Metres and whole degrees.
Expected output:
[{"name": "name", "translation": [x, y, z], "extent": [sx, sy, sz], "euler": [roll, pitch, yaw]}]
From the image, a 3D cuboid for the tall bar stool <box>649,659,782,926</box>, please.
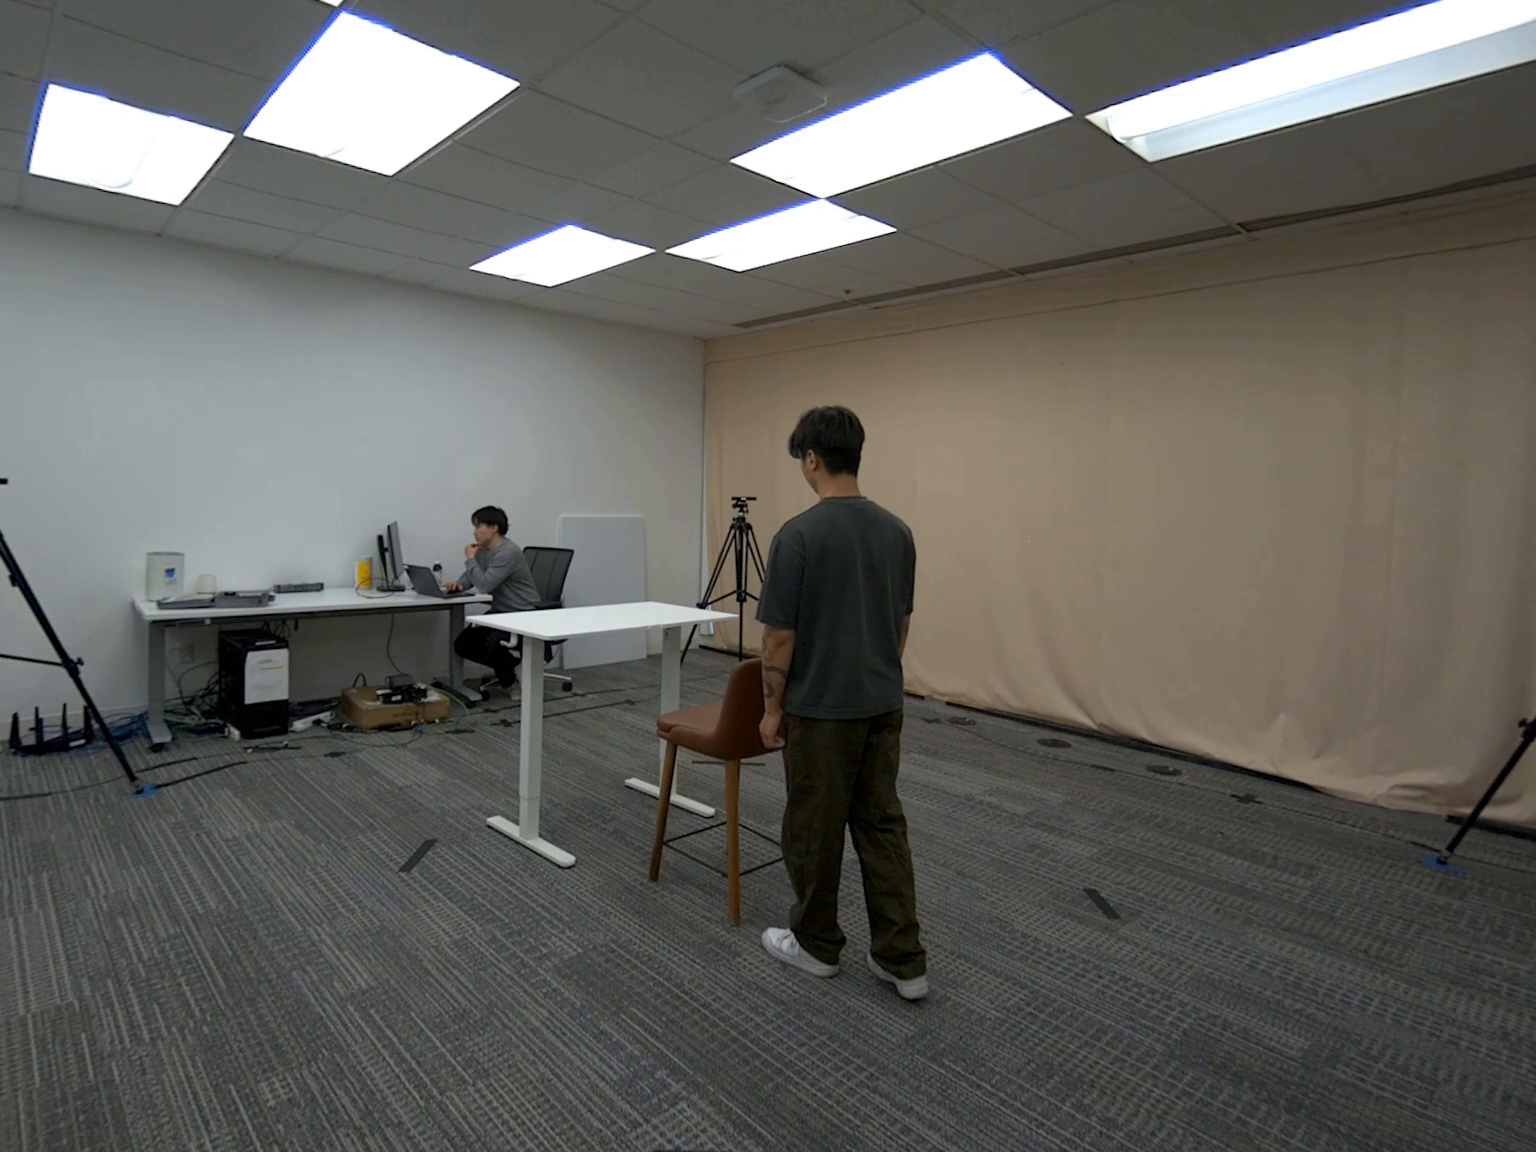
[{"name": "tall bar stool", "translation": [-0.122, 0.681, 2.988], "extent": [0.446, 0.887, 0.480], "euler": [-2, 6, -43]}]
